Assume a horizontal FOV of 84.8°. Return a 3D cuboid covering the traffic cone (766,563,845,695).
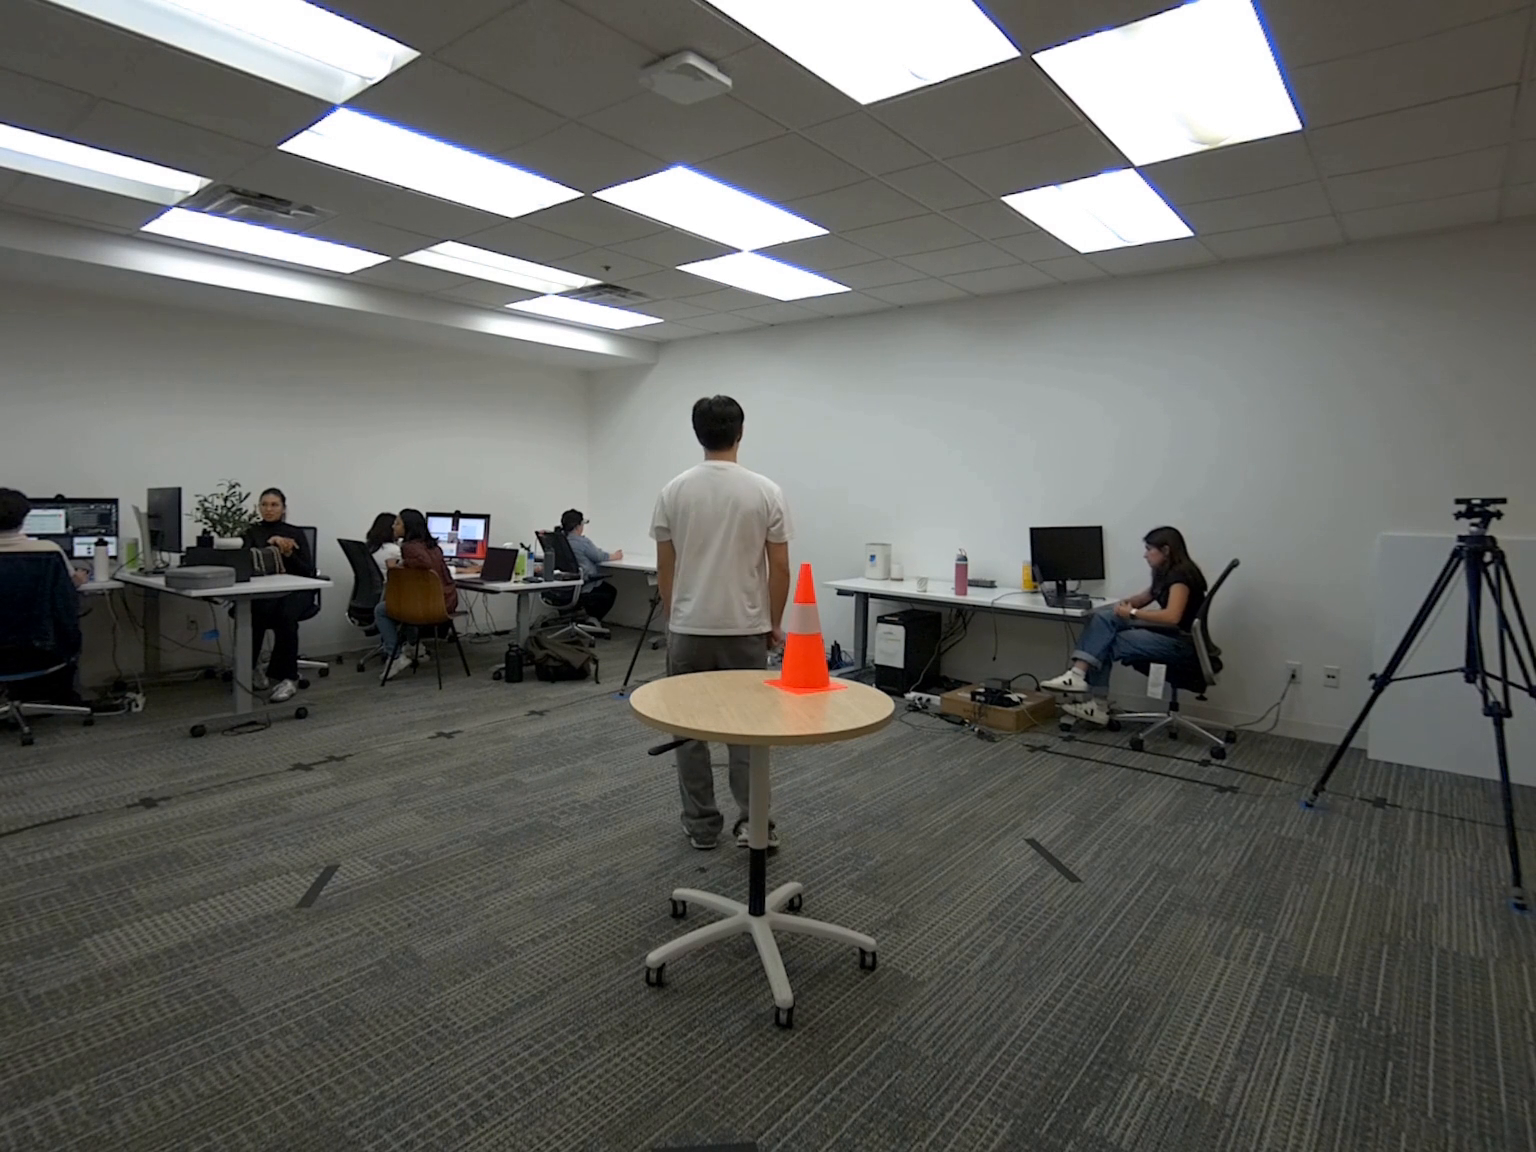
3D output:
[{"bbox_3d":[0.104,0.142,2.661,0.199,0.383,0.209,-5,4,-36],"label":"traffic cone"}]
